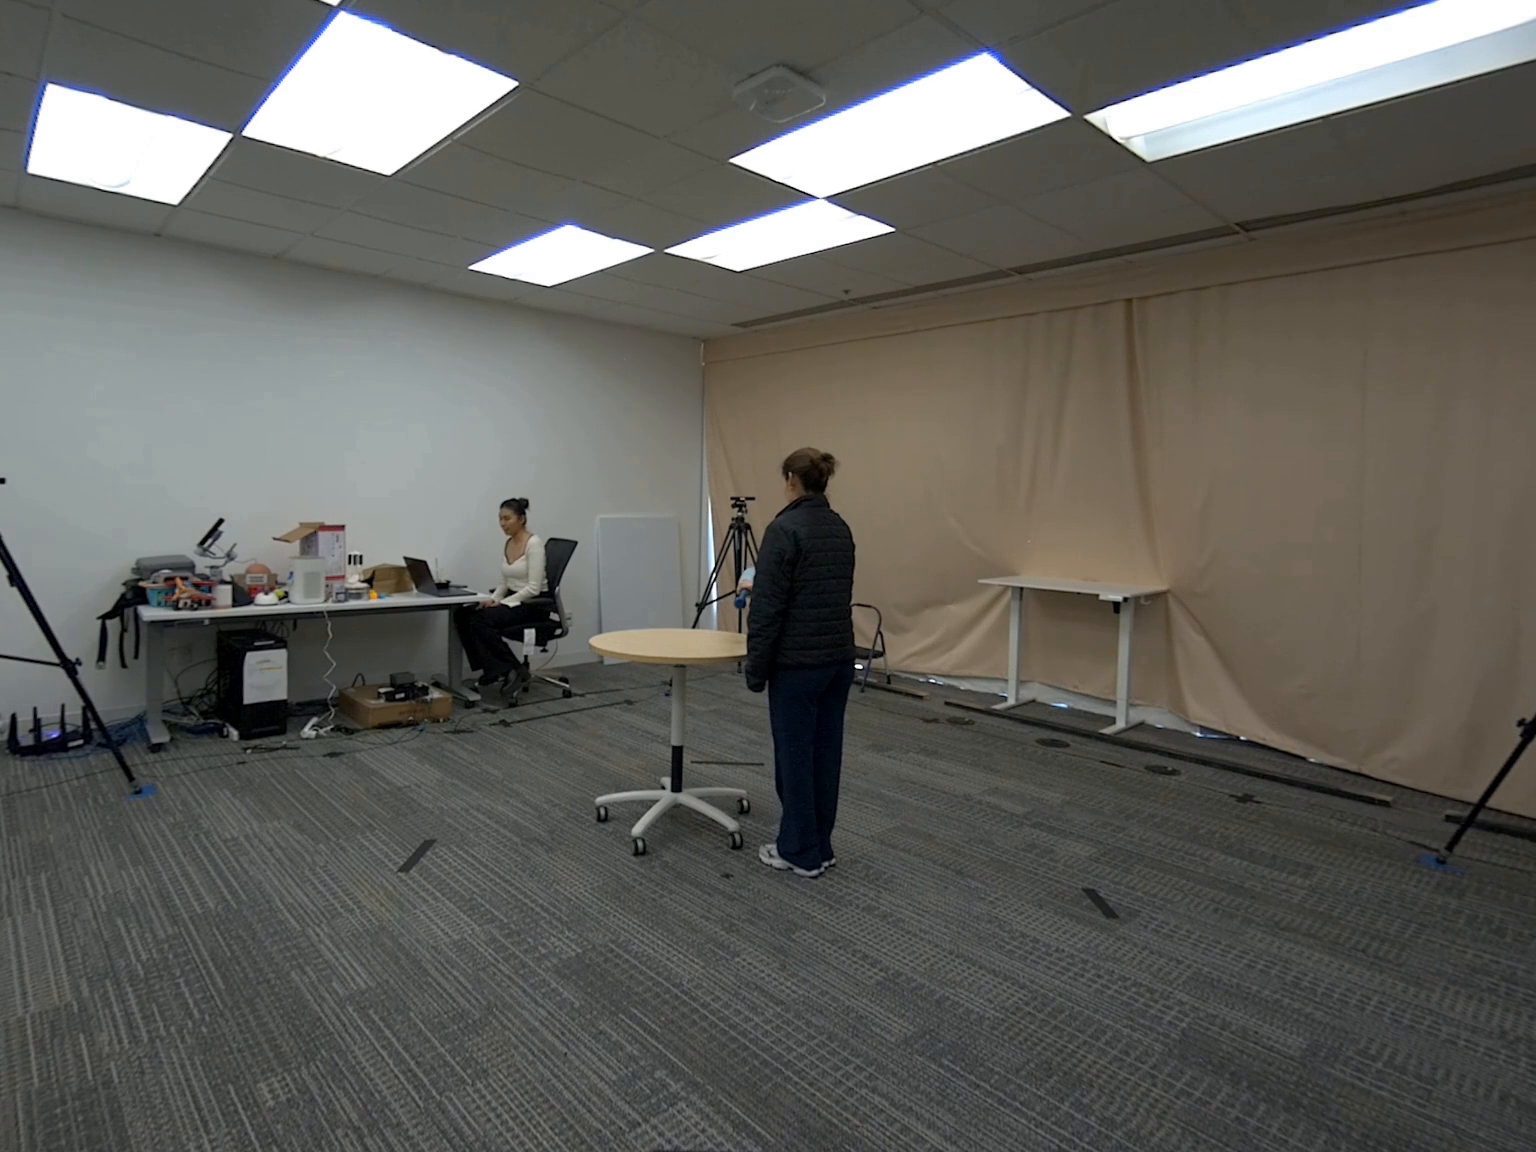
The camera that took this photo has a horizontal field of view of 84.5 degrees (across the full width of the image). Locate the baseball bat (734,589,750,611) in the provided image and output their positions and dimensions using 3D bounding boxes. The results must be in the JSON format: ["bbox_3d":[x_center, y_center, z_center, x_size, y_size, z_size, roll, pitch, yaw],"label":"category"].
[{"bbox_3d":[-0.115,0.071,3.595,0.089,0.088,0.545,2,12,5],"label":"baseball bat"}]
